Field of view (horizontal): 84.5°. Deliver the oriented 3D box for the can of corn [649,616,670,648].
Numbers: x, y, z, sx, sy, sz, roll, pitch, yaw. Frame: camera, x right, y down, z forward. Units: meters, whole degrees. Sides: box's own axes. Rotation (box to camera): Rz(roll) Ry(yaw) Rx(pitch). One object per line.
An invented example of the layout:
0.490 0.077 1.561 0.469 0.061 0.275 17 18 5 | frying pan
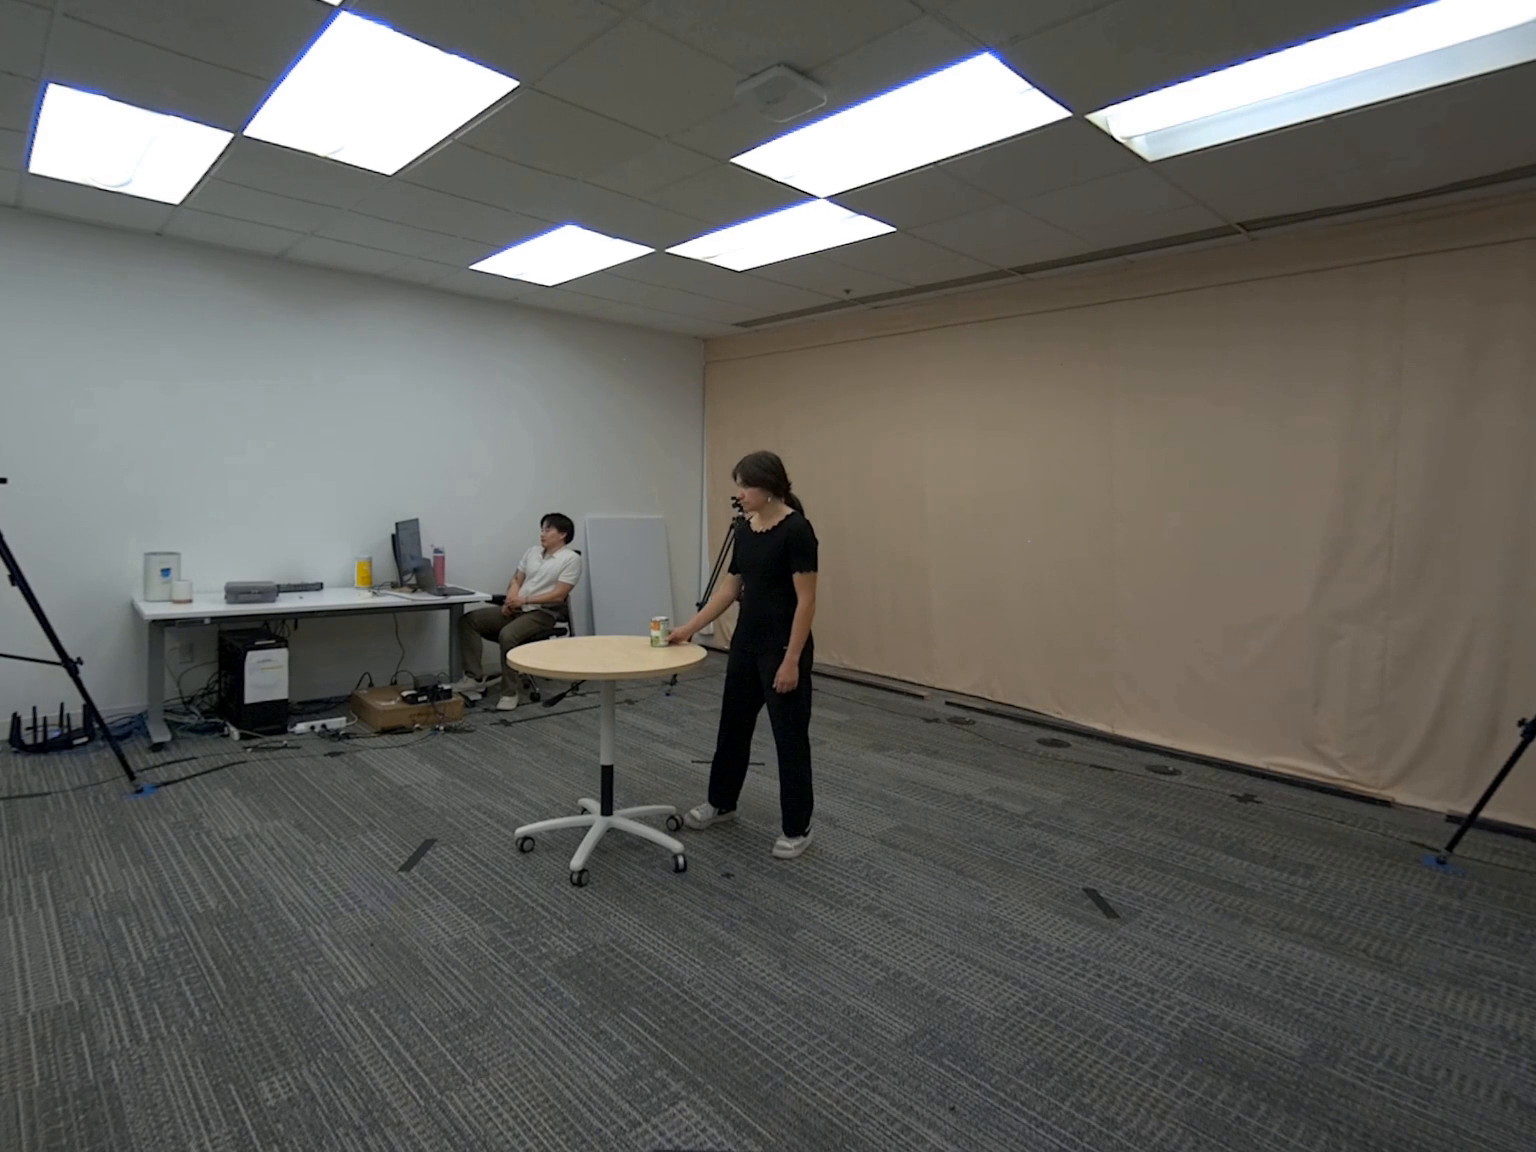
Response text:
-0.446 0.227 3.428 0.074 0.111 0.074 1 0 -1 | can of corn
